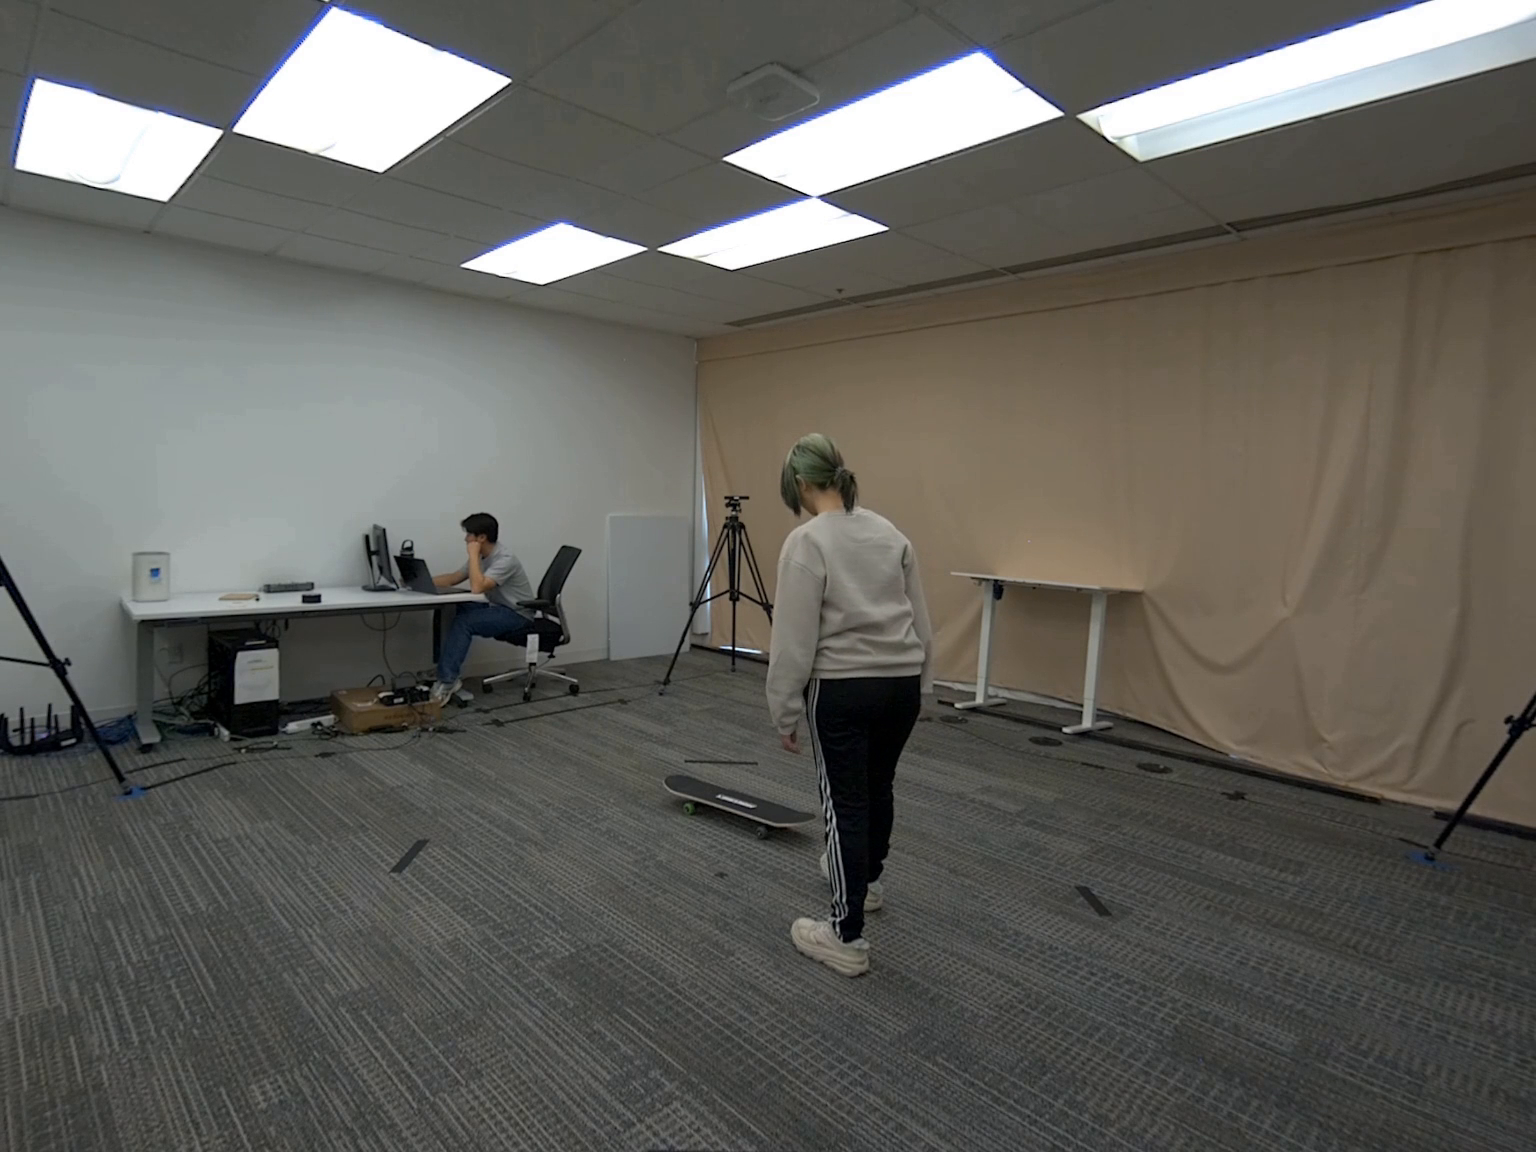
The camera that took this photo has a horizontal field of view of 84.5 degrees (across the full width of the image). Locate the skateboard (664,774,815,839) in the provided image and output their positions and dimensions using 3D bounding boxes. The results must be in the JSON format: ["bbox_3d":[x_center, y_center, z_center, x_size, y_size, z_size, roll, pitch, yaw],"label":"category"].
[{"bbox_3d":[-0.146,1.002,3.634,0.805,0.110,0.189,5,6,37],"label":"skateboard"}]
